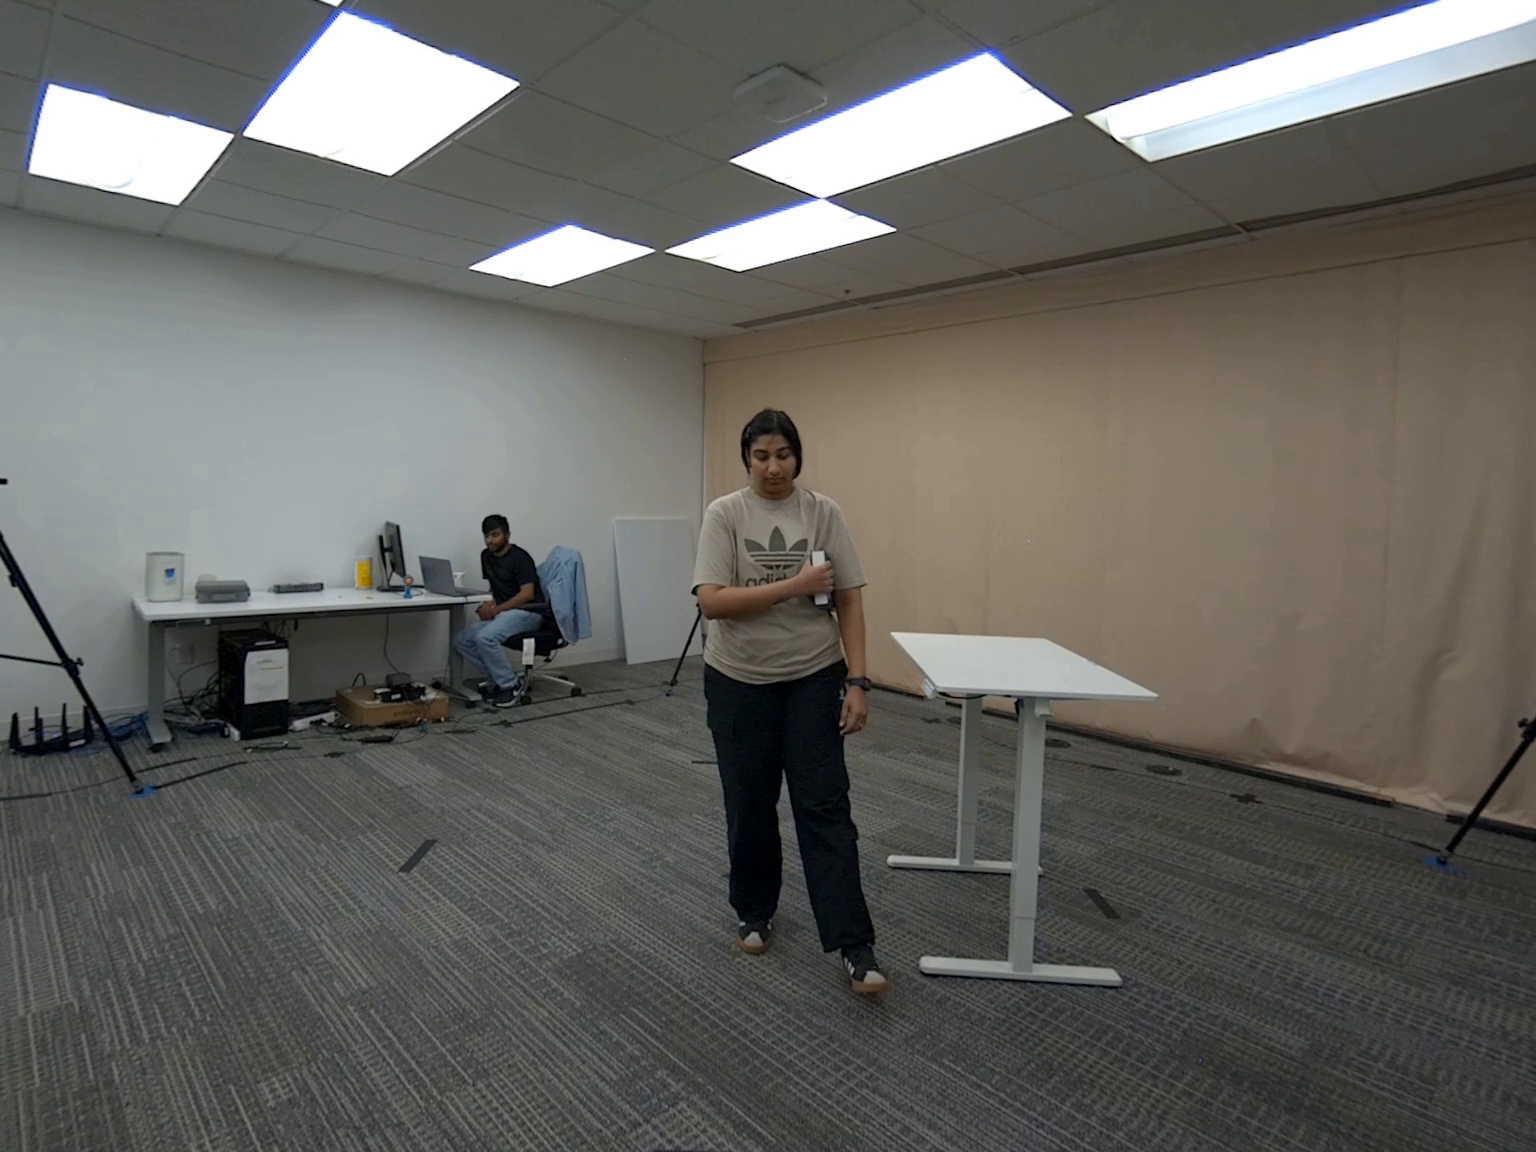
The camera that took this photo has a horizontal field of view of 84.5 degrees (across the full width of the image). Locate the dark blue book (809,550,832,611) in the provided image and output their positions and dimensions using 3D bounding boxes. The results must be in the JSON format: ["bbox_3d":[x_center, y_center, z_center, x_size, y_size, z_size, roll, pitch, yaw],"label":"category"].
[{"bbox_3d":[0.155,0.016,2.552,0.045,0.165,0.242,-4,-9,7],"label":"dark blue book"}]
